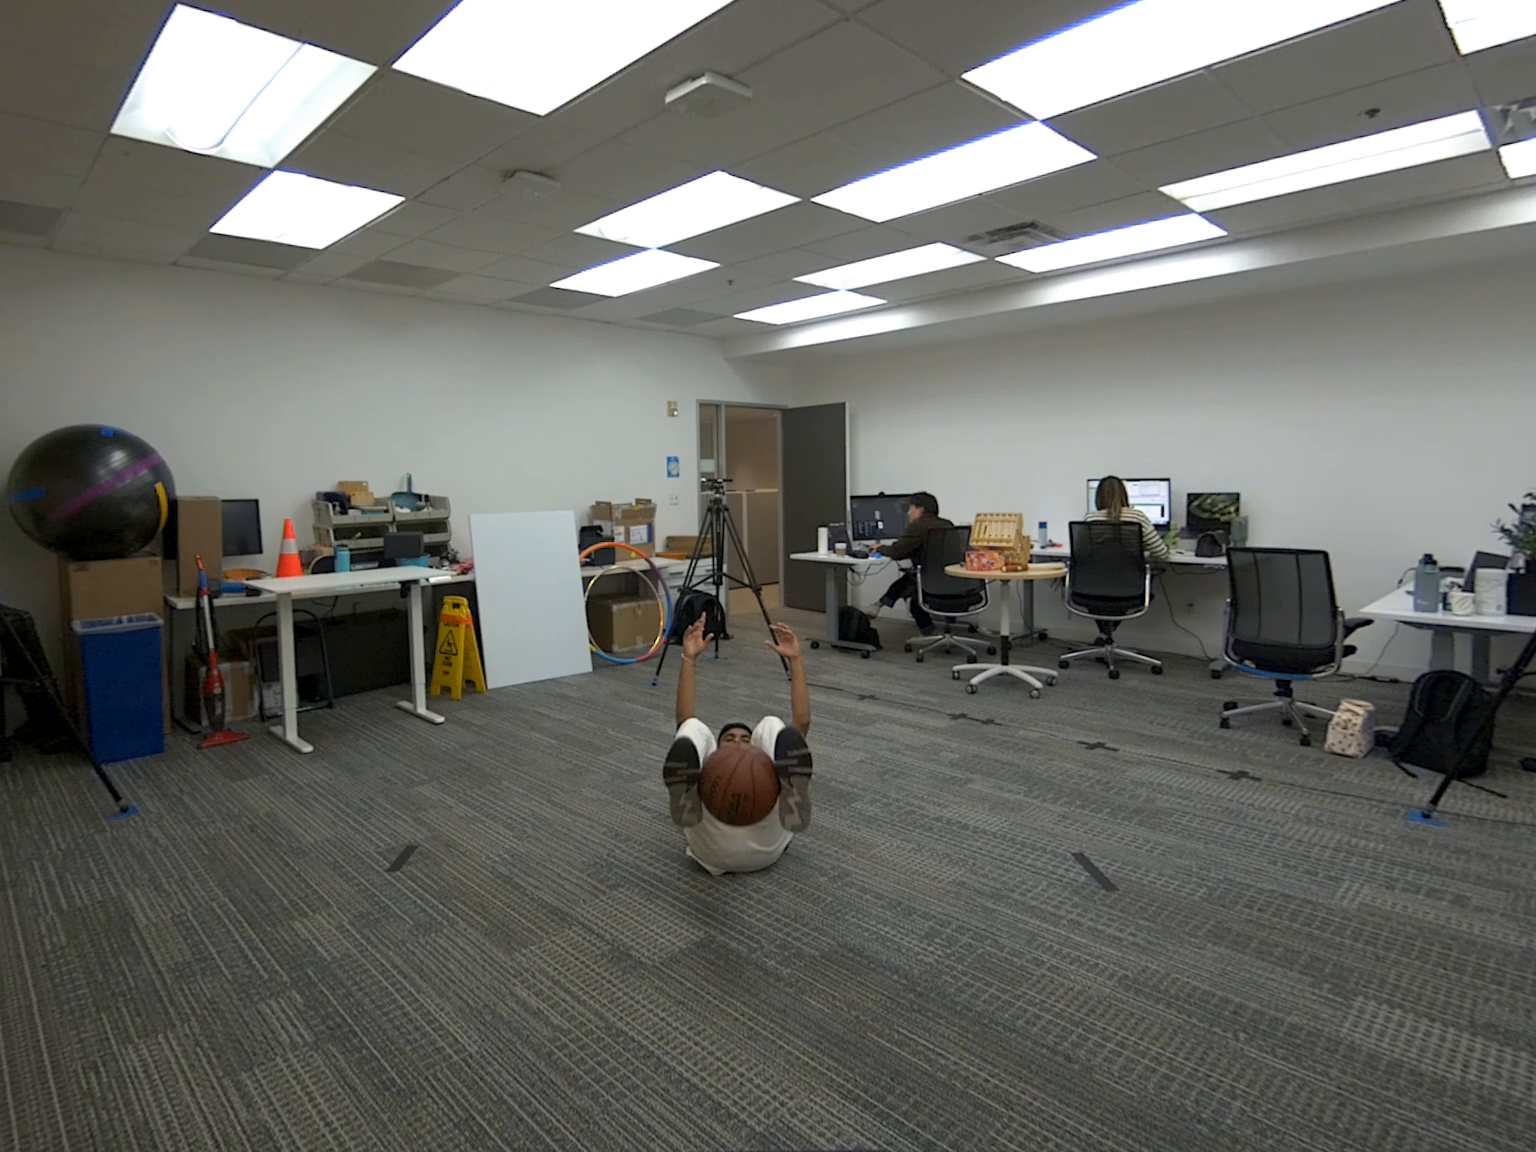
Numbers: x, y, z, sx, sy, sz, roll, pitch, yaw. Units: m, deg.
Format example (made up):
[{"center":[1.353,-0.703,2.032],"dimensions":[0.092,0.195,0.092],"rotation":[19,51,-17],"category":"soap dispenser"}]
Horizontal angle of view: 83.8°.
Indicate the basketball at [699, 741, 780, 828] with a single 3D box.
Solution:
[{"center":[-0.077,0.600,2.519],"dimensions":[0.236,0.235,0.237],"rotation":[-1,5,-2],"category":"basketball"}]
